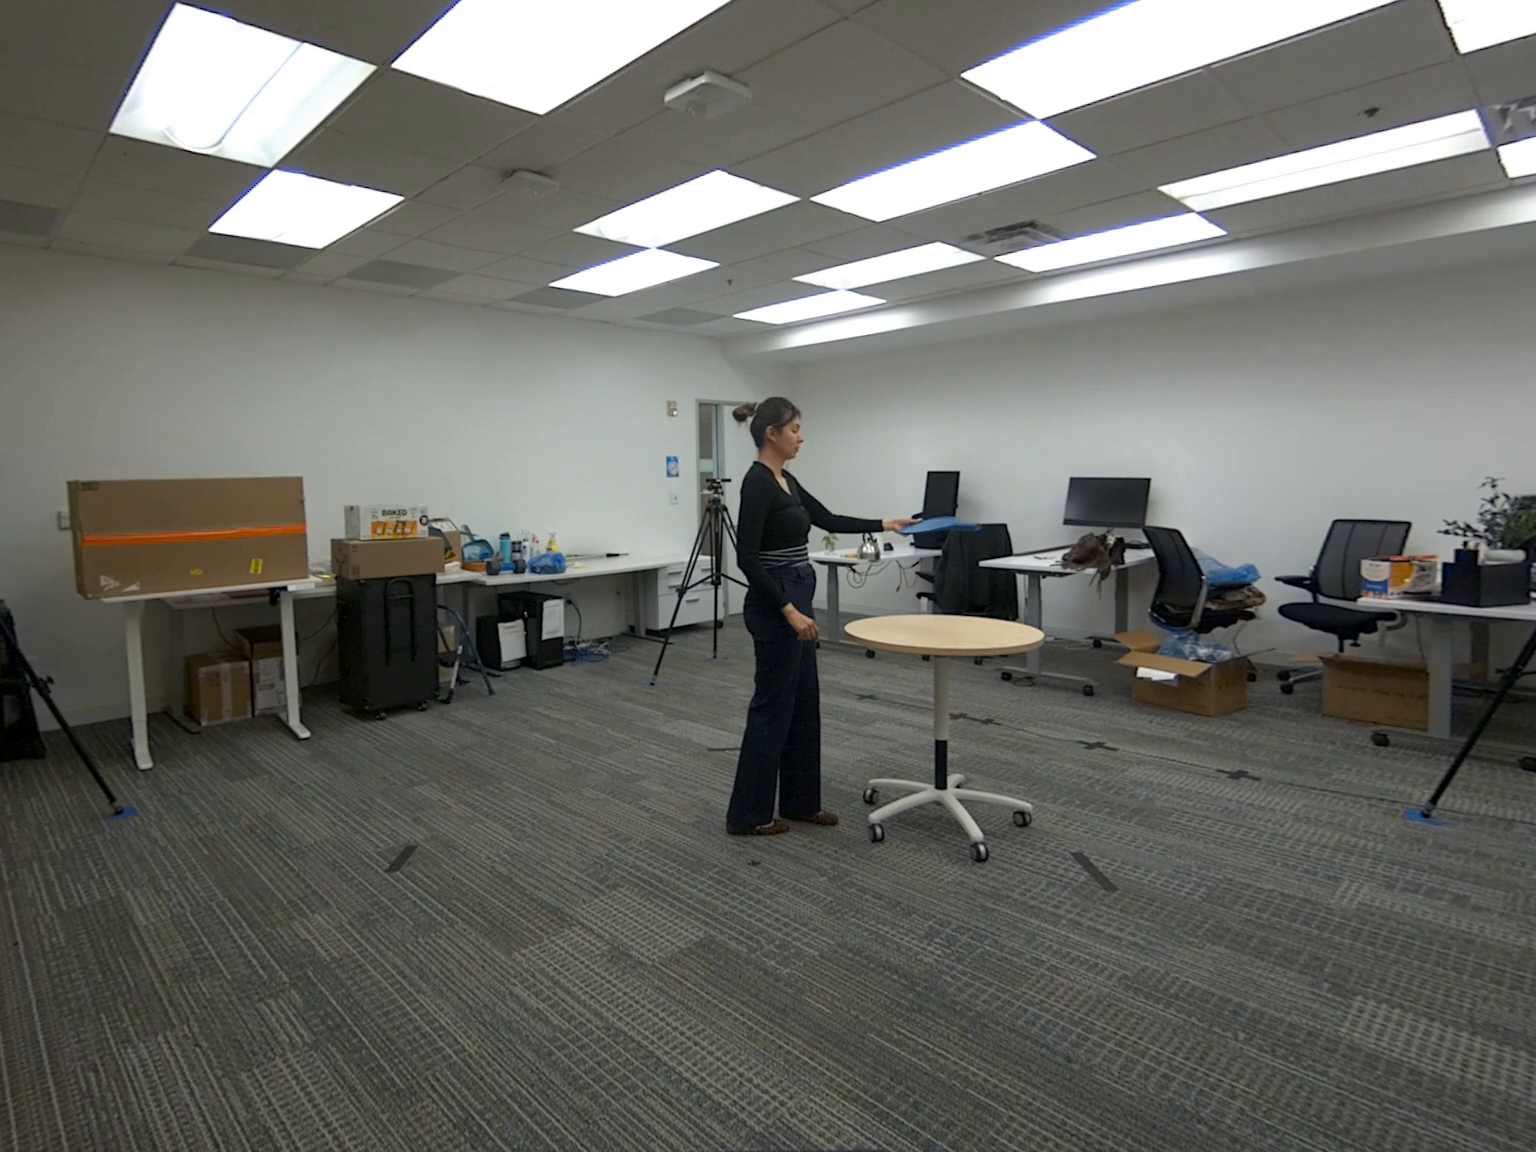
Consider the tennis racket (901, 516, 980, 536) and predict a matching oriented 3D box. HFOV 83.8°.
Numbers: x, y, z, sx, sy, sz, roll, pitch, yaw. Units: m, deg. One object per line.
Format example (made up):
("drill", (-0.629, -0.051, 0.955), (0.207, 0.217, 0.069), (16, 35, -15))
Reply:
("tennis racket", (0.685, -0.197, 3.386), (0.211, 0.031, 0.443), (-20, 12, -23))
